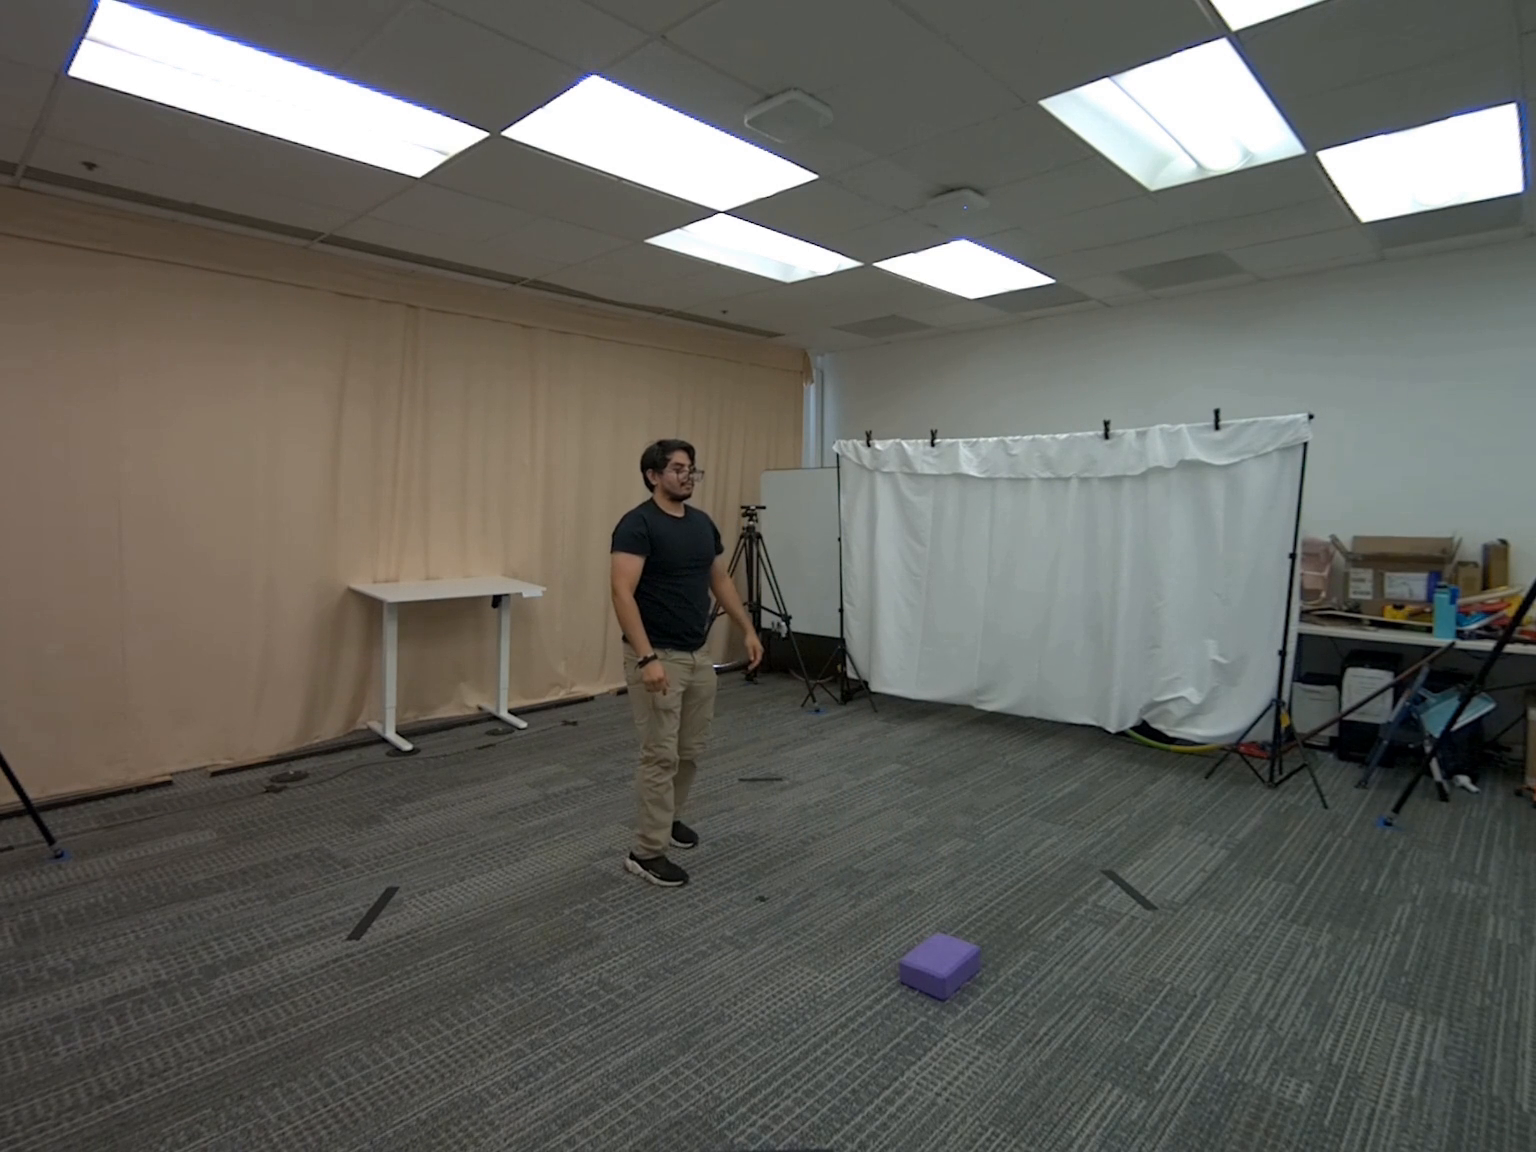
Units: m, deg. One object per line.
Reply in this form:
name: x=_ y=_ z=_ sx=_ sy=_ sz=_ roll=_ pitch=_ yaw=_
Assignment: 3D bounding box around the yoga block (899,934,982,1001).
yoga block: x=0.515 y=1.147 z=2.482 sx=0.154 sy=0.076 sz=0.222 roll=3 pitch=5 yaw=42
